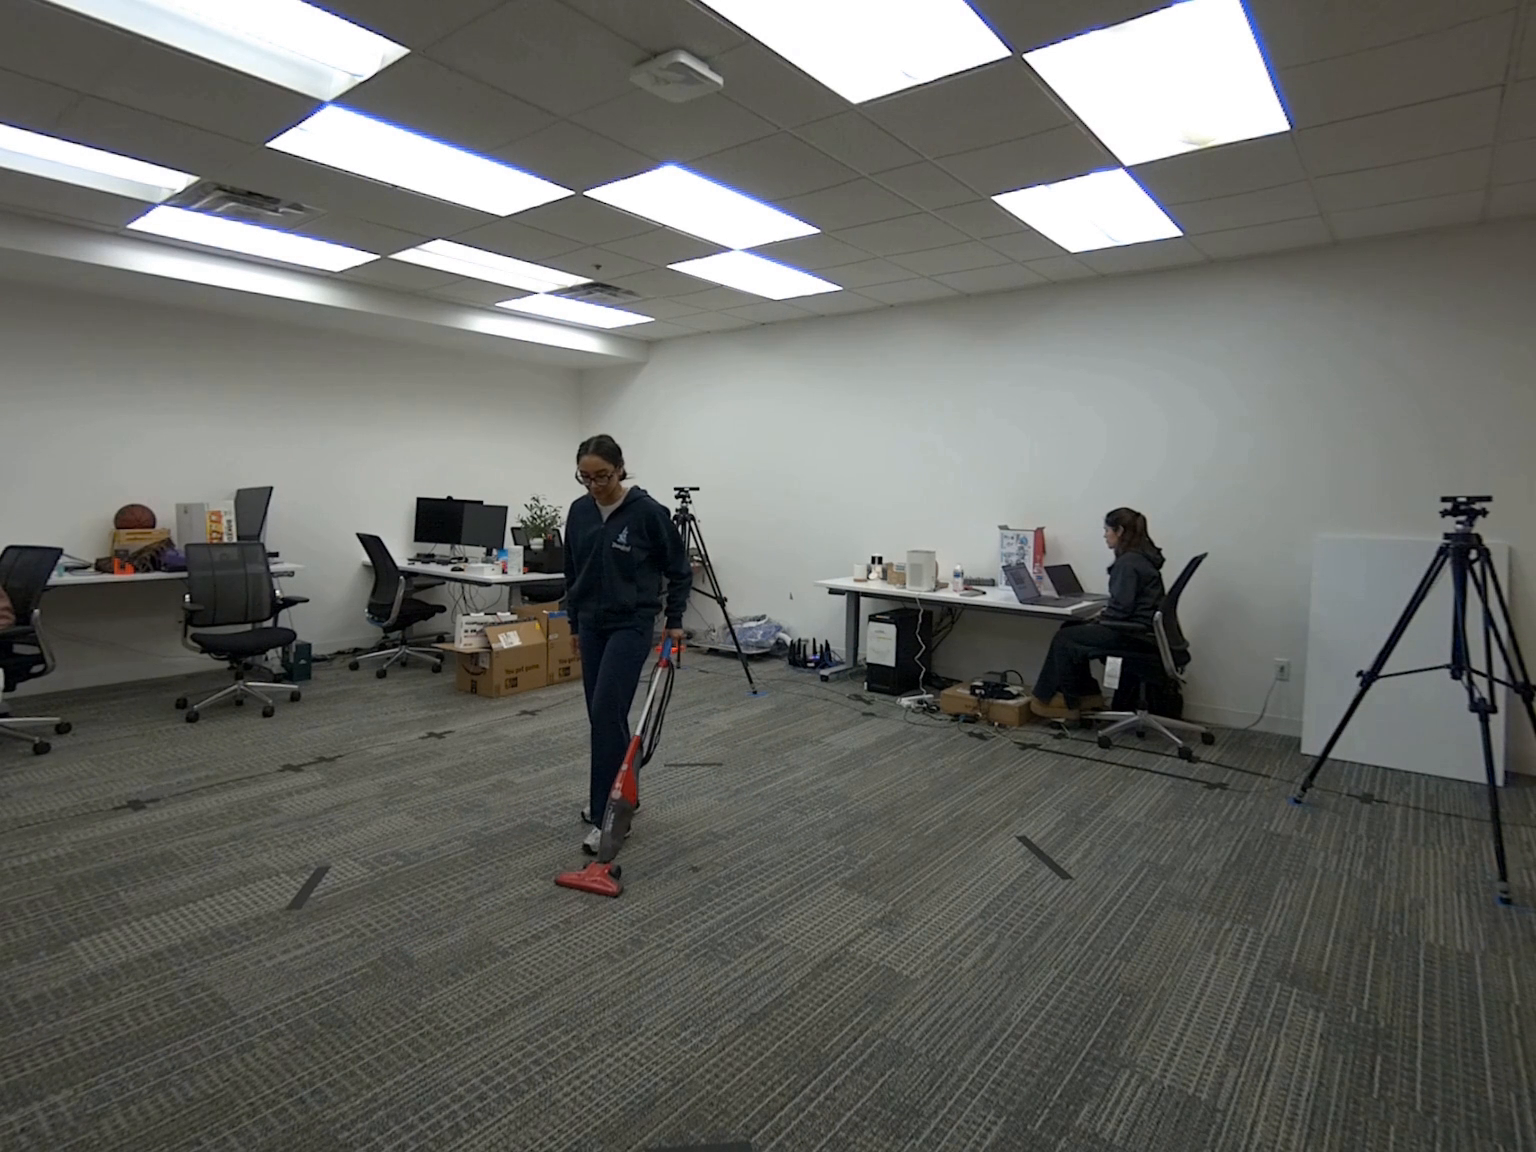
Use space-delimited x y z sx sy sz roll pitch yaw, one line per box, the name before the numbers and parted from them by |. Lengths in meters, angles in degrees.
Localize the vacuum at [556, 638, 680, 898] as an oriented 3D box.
vacuum | -0.497 0.640 3.240 0.257 1.067 0.139 5 -35 16
